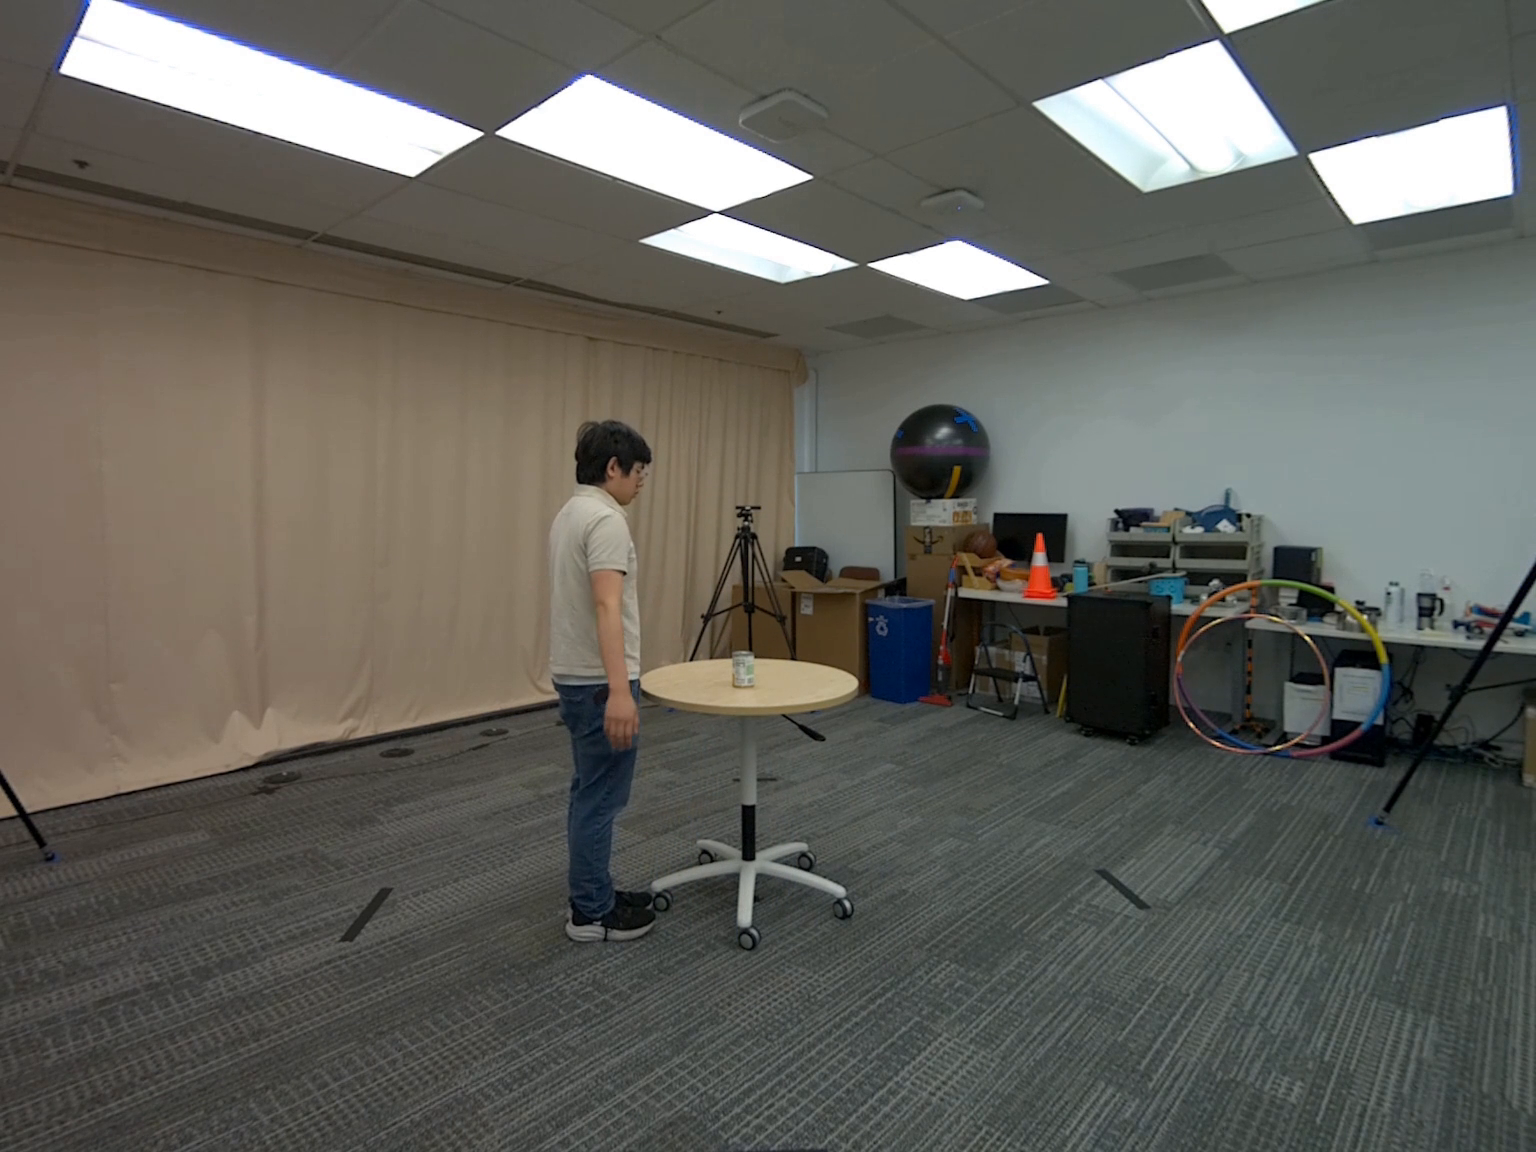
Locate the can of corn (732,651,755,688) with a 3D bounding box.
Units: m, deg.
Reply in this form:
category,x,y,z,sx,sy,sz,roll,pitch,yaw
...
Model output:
category,x,y,z,sx,sy,sz,roll,pitch,yaw
can of corn,-0.082,0.322,2.842,0.074,0.111,0.074,-4,3,-2
